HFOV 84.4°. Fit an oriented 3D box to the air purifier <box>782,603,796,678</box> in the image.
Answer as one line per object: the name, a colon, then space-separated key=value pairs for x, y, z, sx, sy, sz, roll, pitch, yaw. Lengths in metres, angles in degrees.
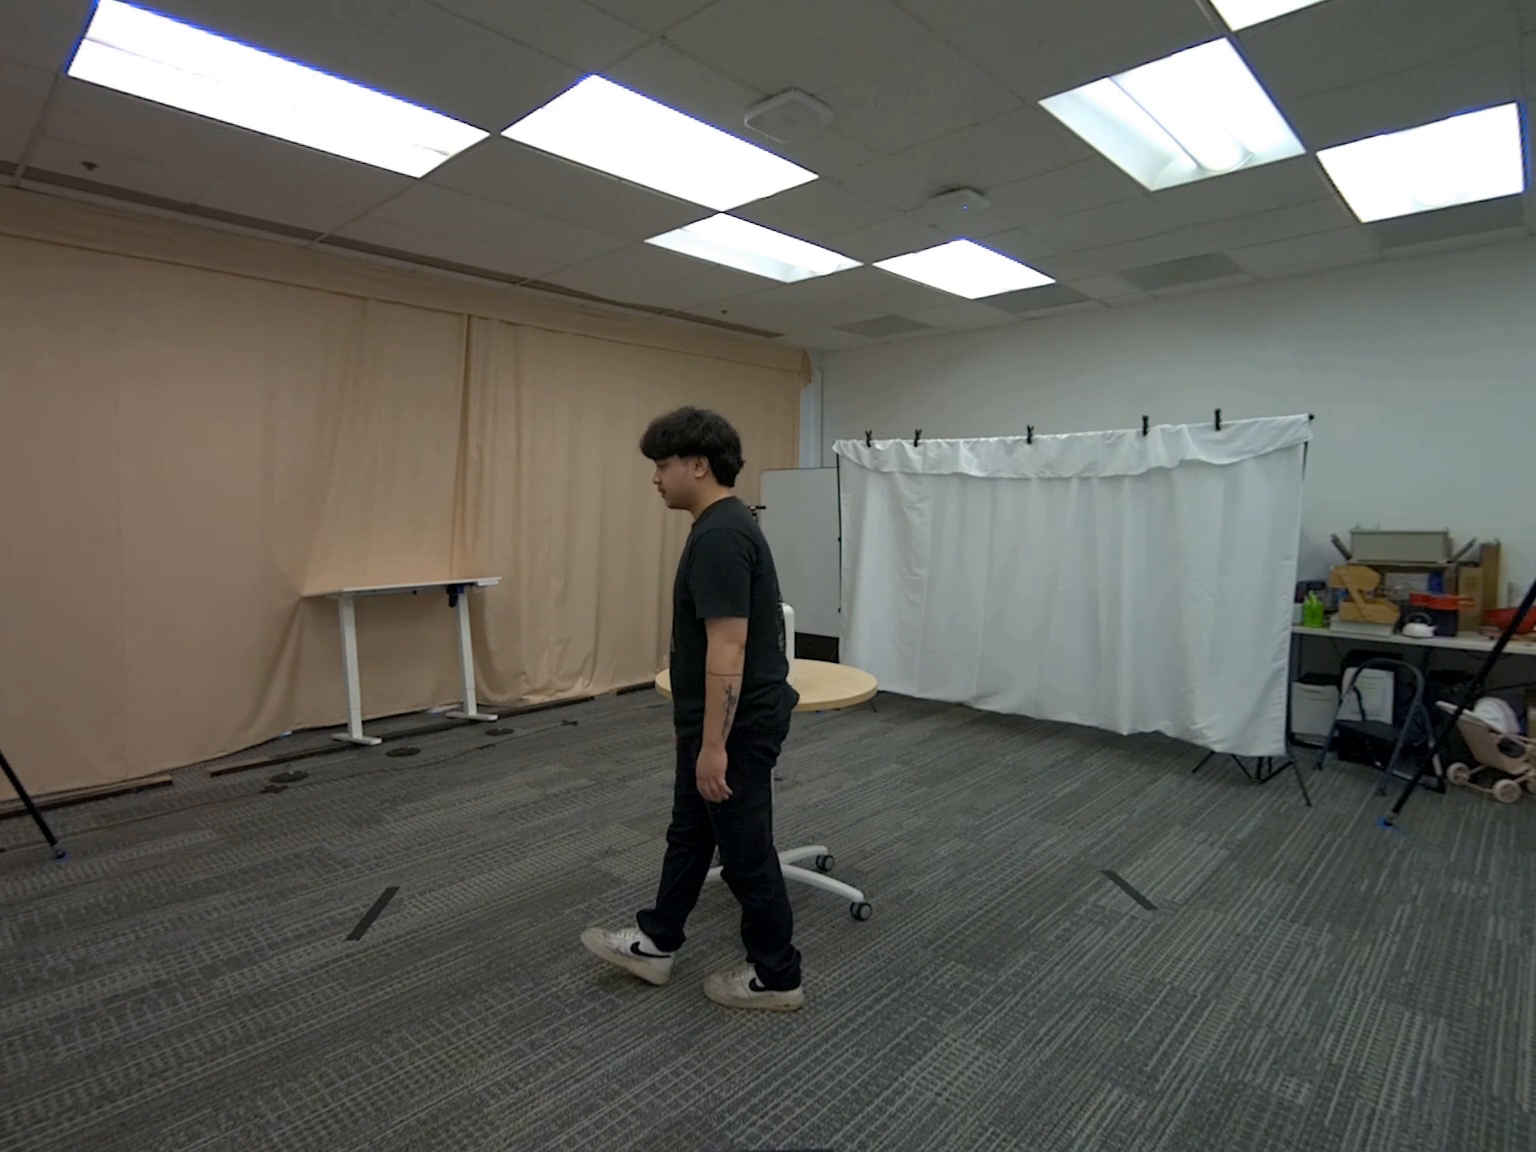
air purifier: x=0.002 y=0.227 z=2.855 sx=0.170 sy=0.265 sz=0.173 roll=0 pitch=3 yaw=-6
